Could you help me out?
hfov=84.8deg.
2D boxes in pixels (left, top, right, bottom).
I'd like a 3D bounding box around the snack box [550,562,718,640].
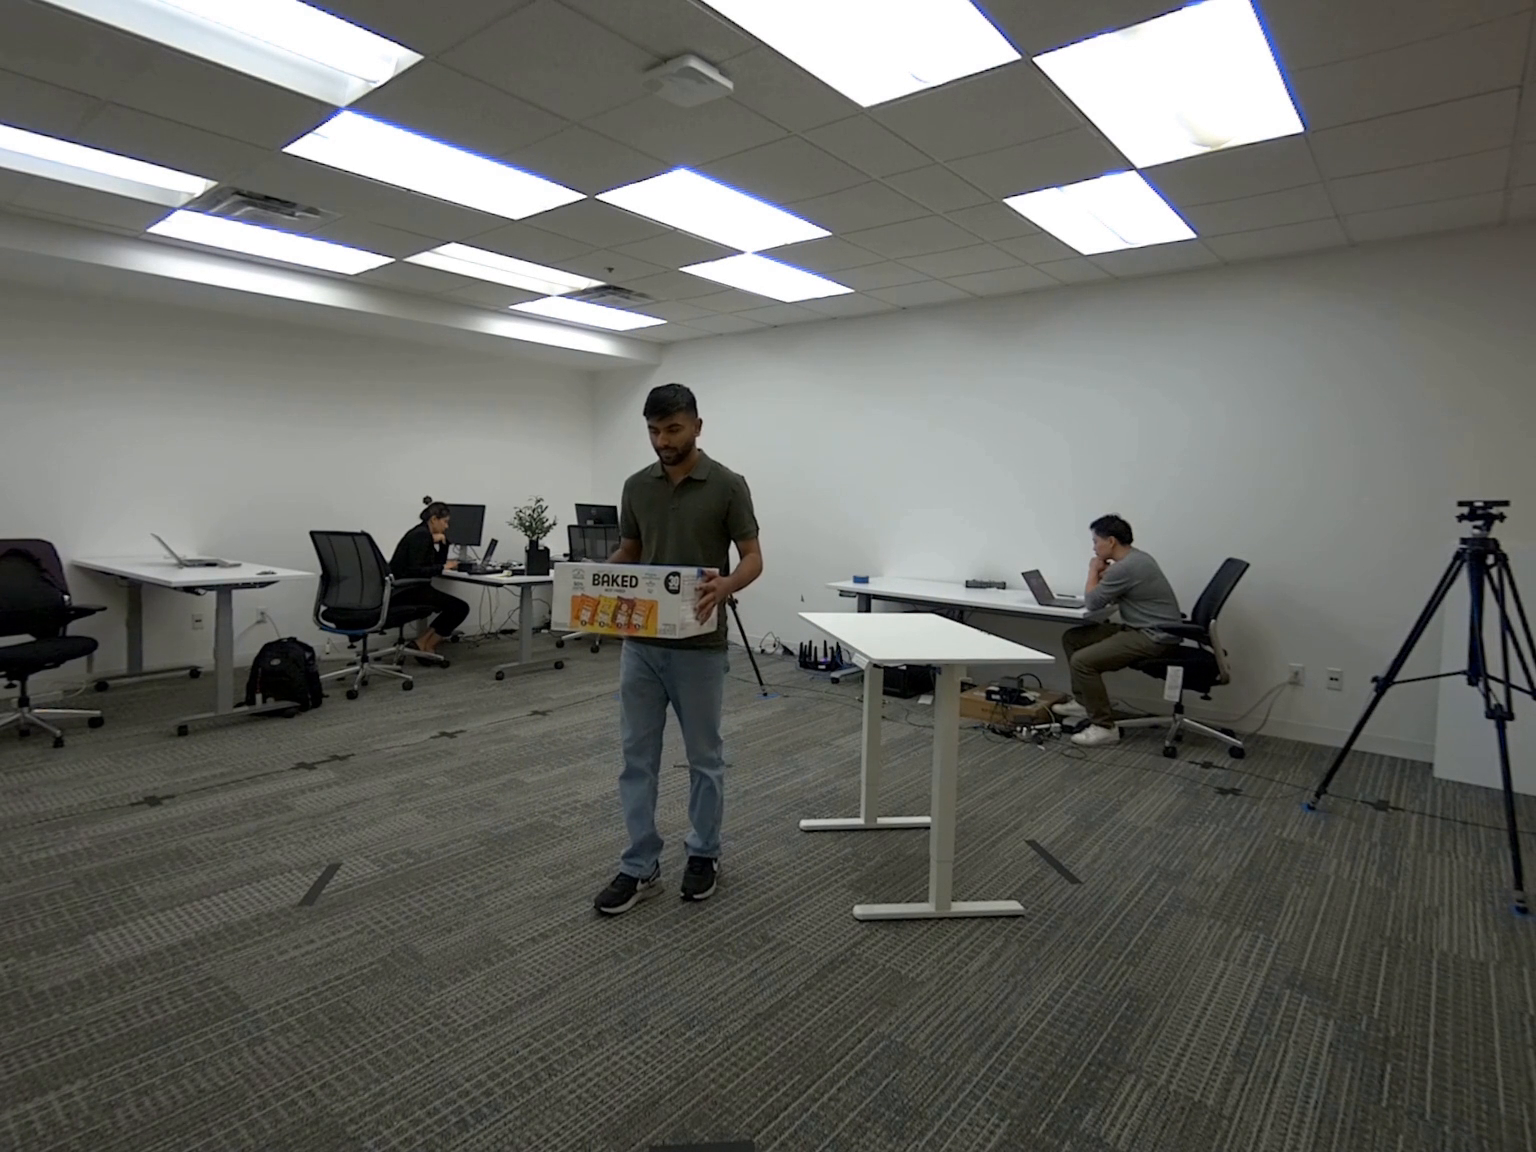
[{"bbox_3d":[-0.410,0.064,2.619,0.413,0.206,0.334,3,1,17],"label":"snack box"}]
